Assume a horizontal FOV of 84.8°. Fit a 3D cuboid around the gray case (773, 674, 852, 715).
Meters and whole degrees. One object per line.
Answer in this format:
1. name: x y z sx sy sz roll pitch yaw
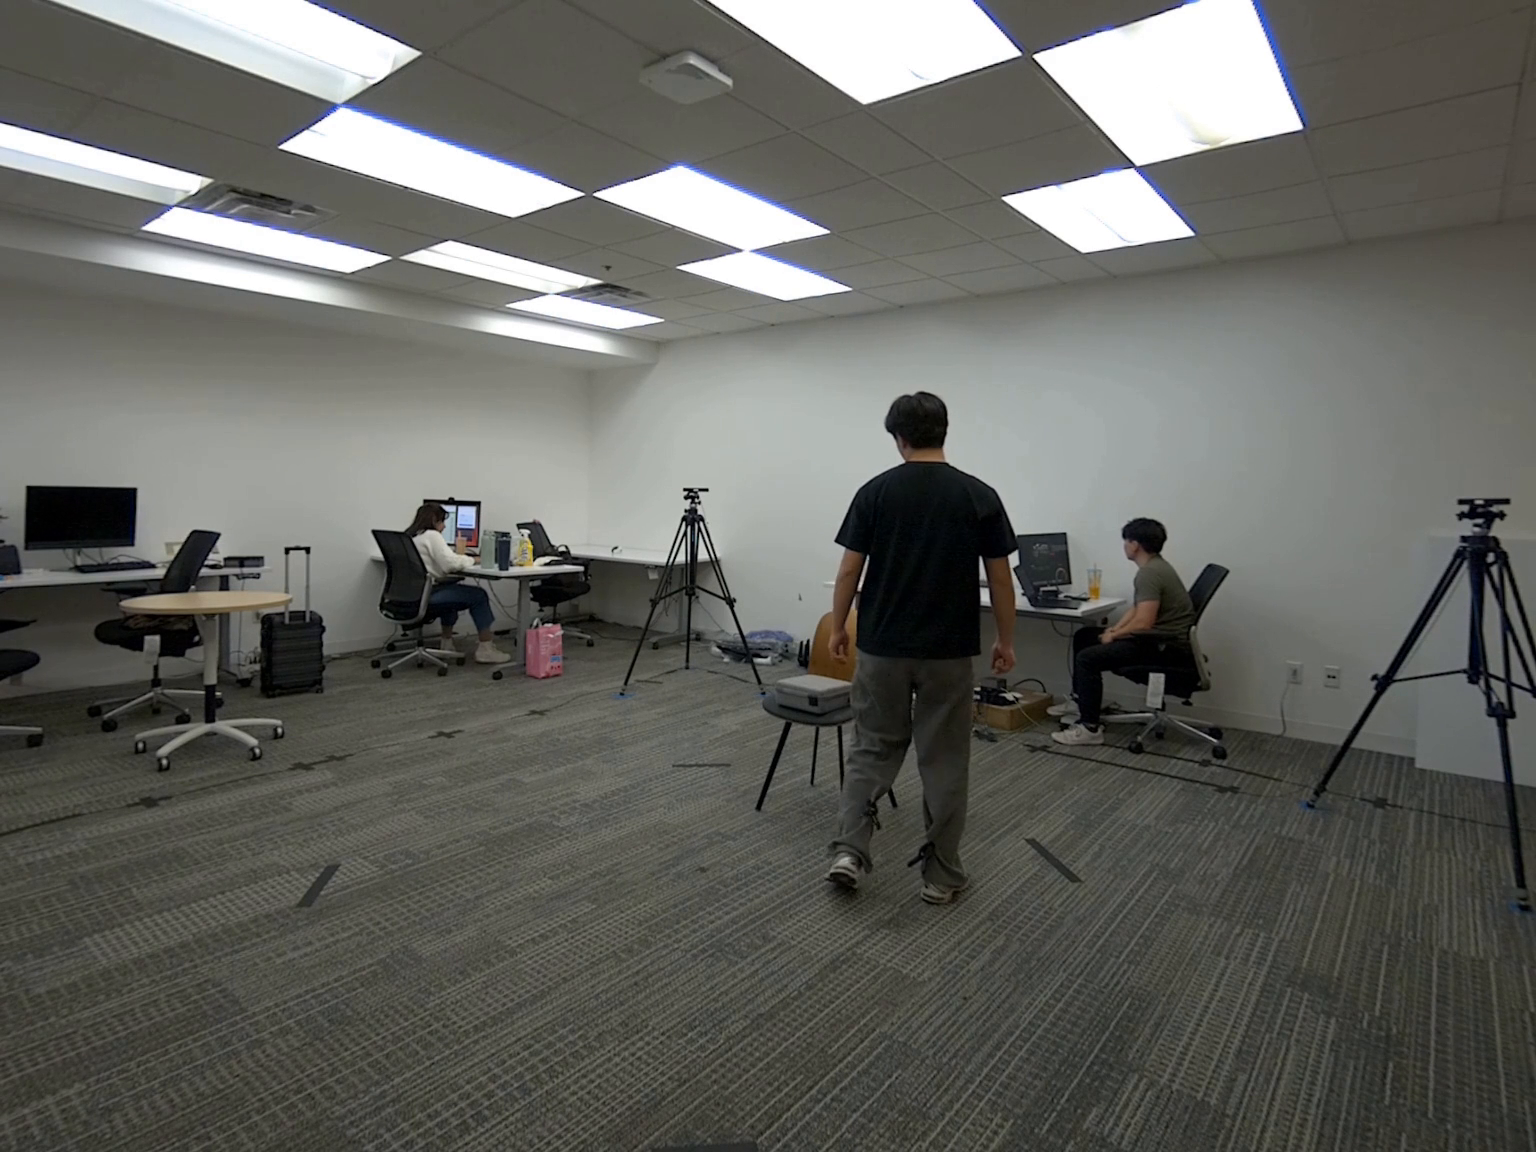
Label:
1. gray case: 0.195 0.491 3.613 0.272 0.103 0.278 5 5 39
